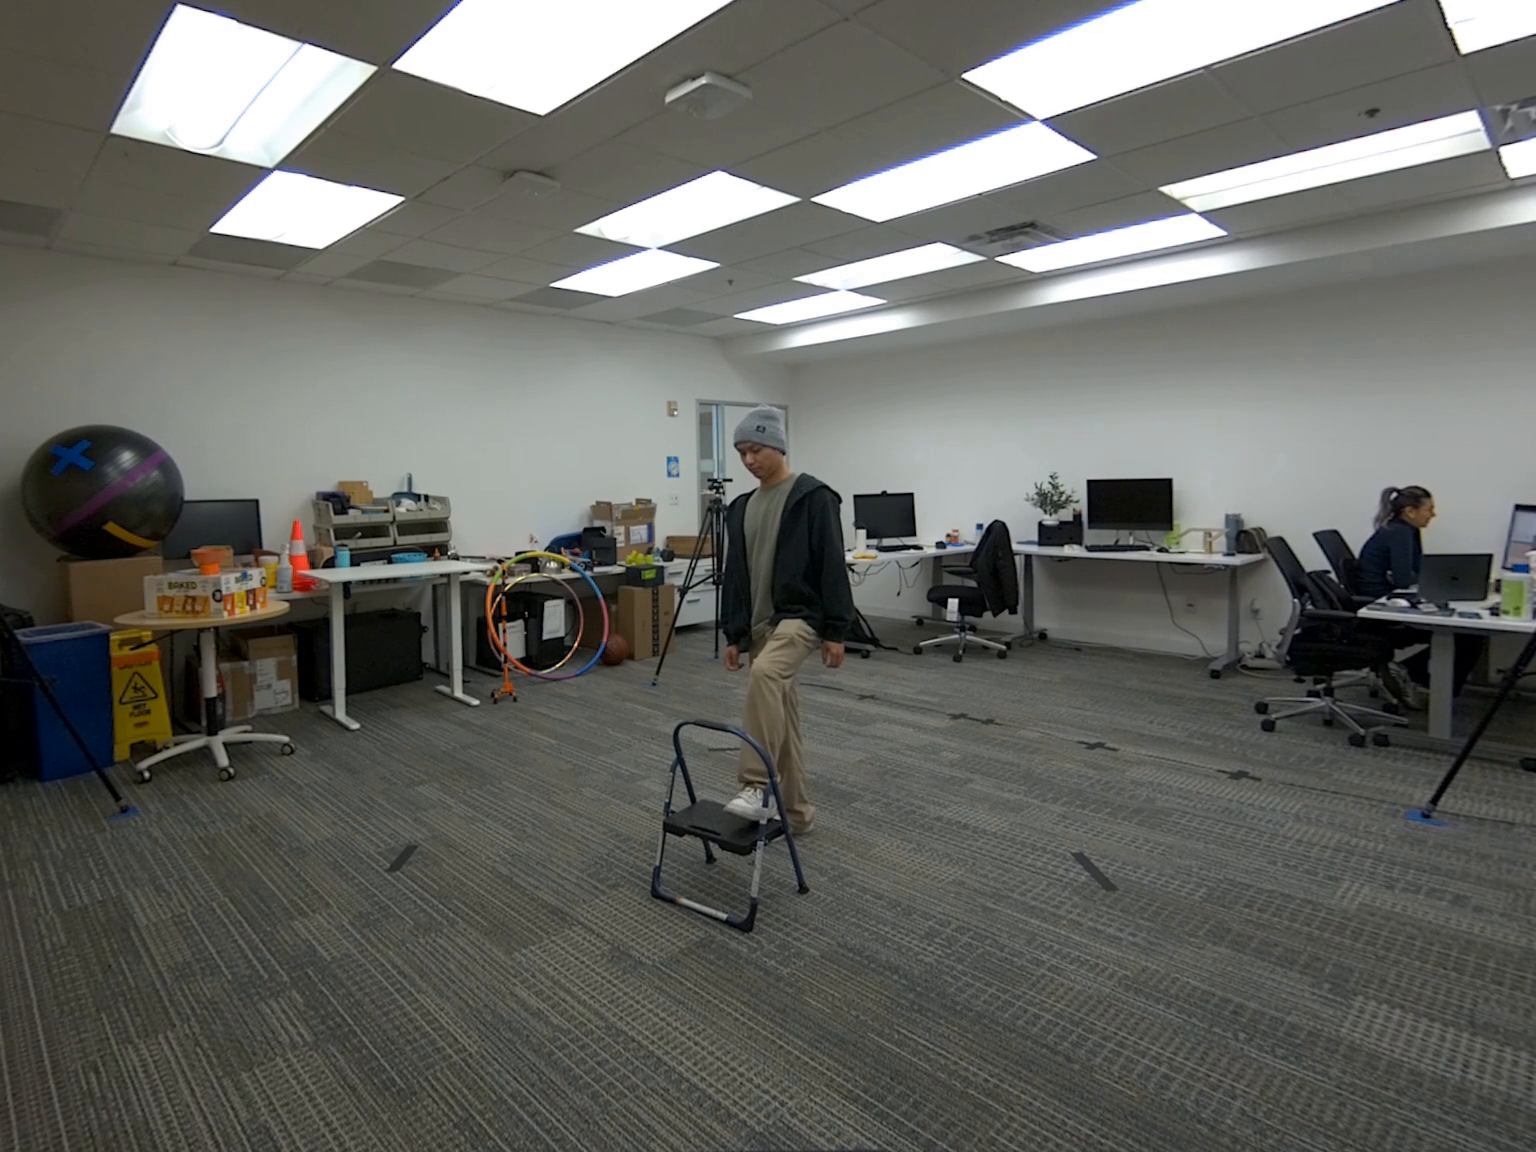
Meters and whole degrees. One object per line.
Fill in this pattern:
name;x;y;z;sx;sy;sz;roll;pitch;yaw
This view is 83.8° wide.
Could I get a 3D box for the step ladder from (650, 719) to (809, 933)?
step ladder;-0.136;0.770;2.866;0.443;0.604;0.341;2;6;35
